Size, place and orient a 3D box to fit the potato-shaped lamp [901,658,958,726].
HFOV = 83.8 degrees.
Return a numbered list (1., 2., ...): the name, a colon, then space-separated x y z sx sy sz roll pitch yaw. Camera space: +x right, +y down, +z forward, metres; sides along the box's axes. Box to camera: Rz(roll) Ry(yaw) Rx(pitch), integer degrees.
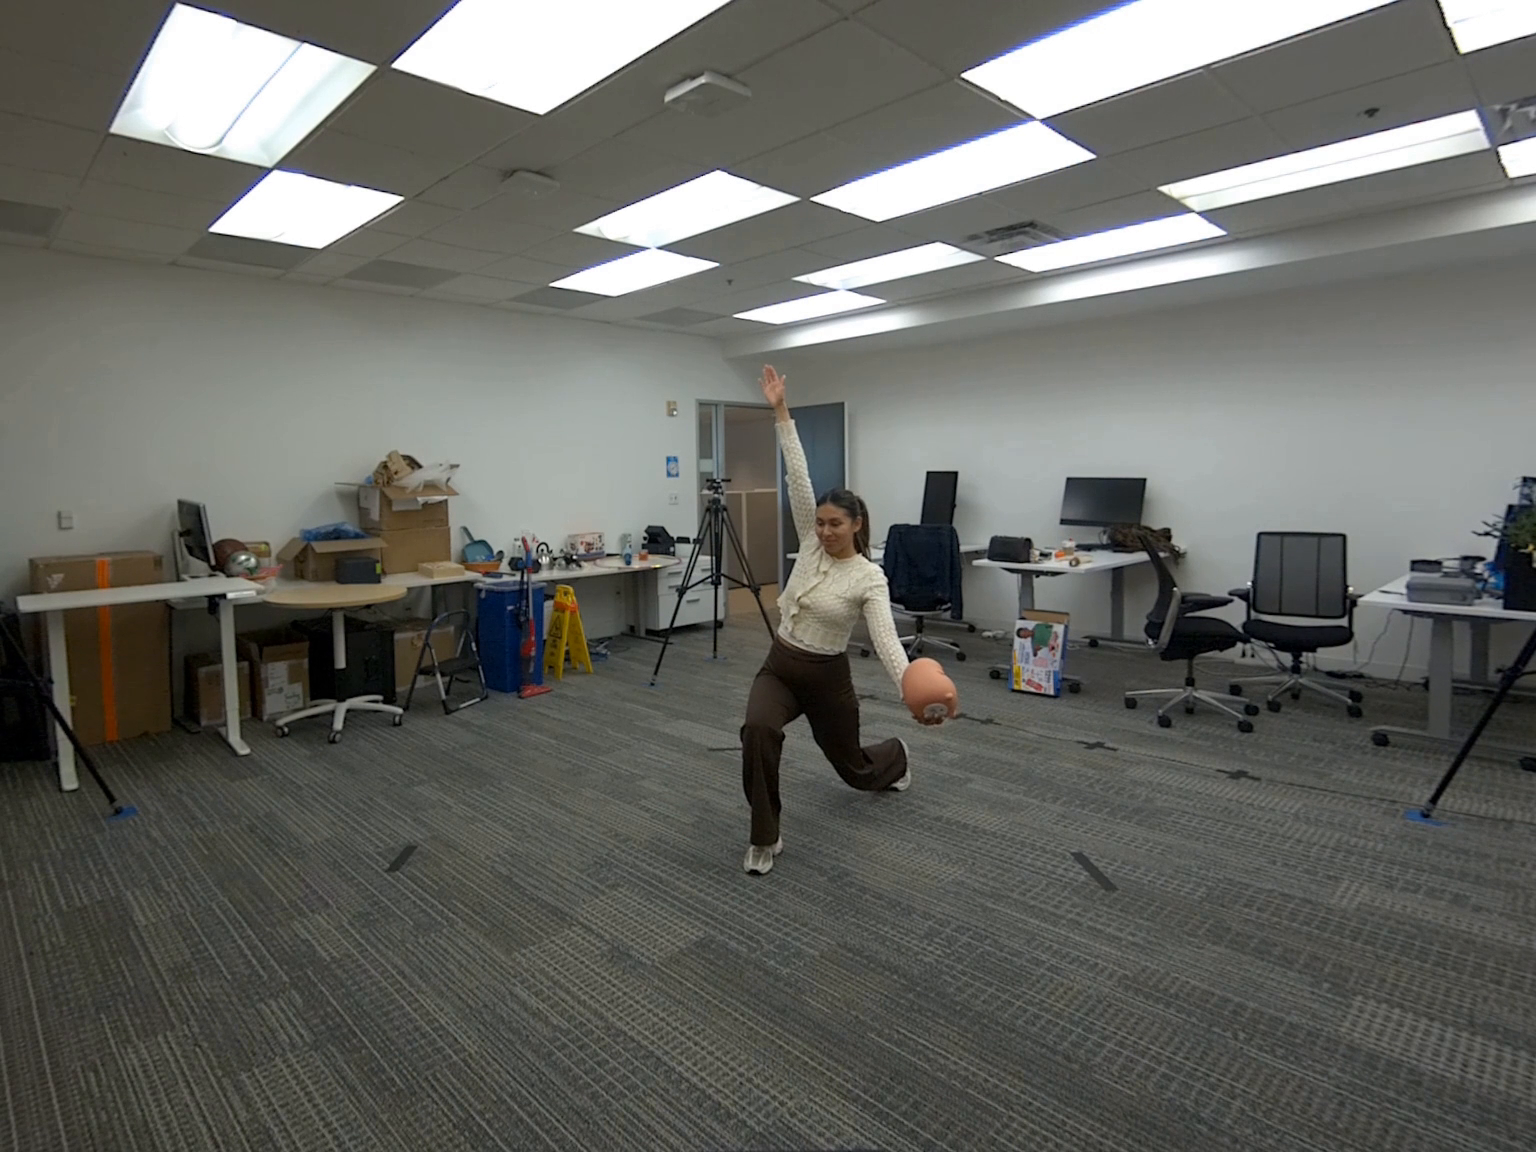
1. potato-shaped lamp: 0.532 0.368 2.826 0.173 0.159 0.204 -14 44 9
